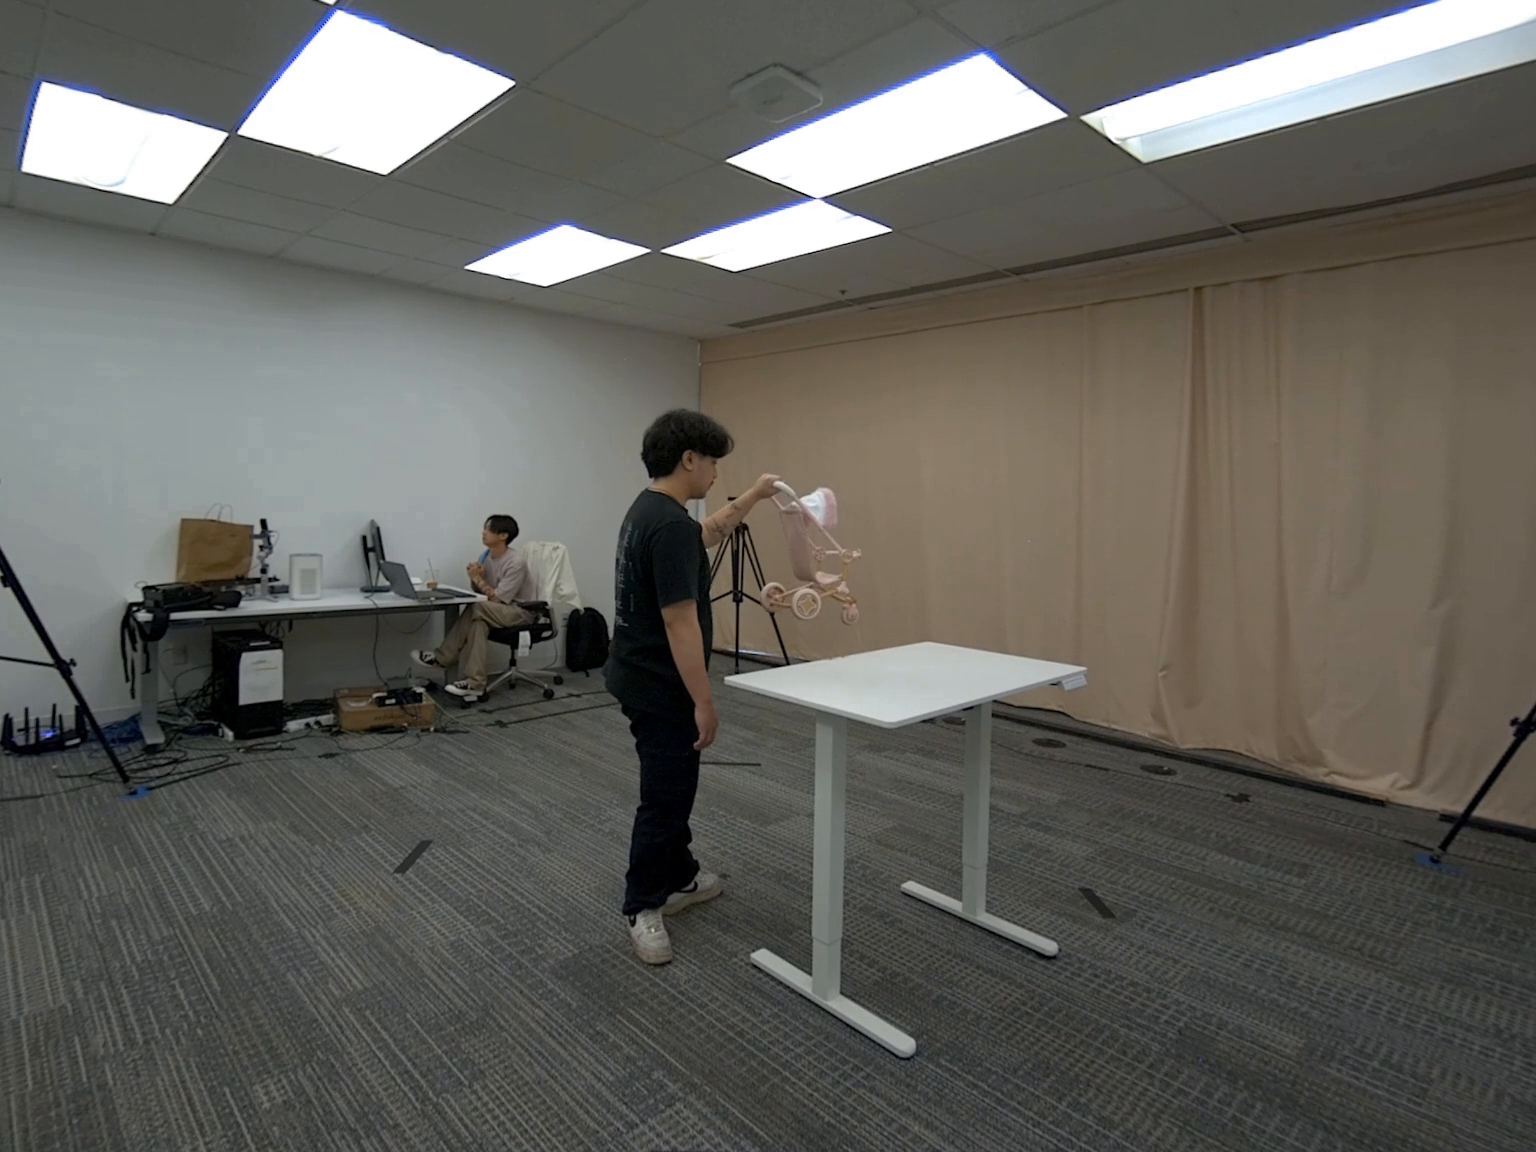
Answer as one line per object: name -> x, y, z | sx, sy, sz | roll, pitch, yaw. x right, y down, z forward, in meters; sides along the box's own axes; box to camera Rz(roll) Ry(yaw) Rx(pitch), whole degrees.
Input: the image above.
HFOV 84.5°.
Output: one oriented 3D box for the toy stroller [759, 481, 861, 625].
toy stroller -> 0.161, -0.073, 3.006 | 0.336, 0.534, 0.286 | -4, 3, -20
